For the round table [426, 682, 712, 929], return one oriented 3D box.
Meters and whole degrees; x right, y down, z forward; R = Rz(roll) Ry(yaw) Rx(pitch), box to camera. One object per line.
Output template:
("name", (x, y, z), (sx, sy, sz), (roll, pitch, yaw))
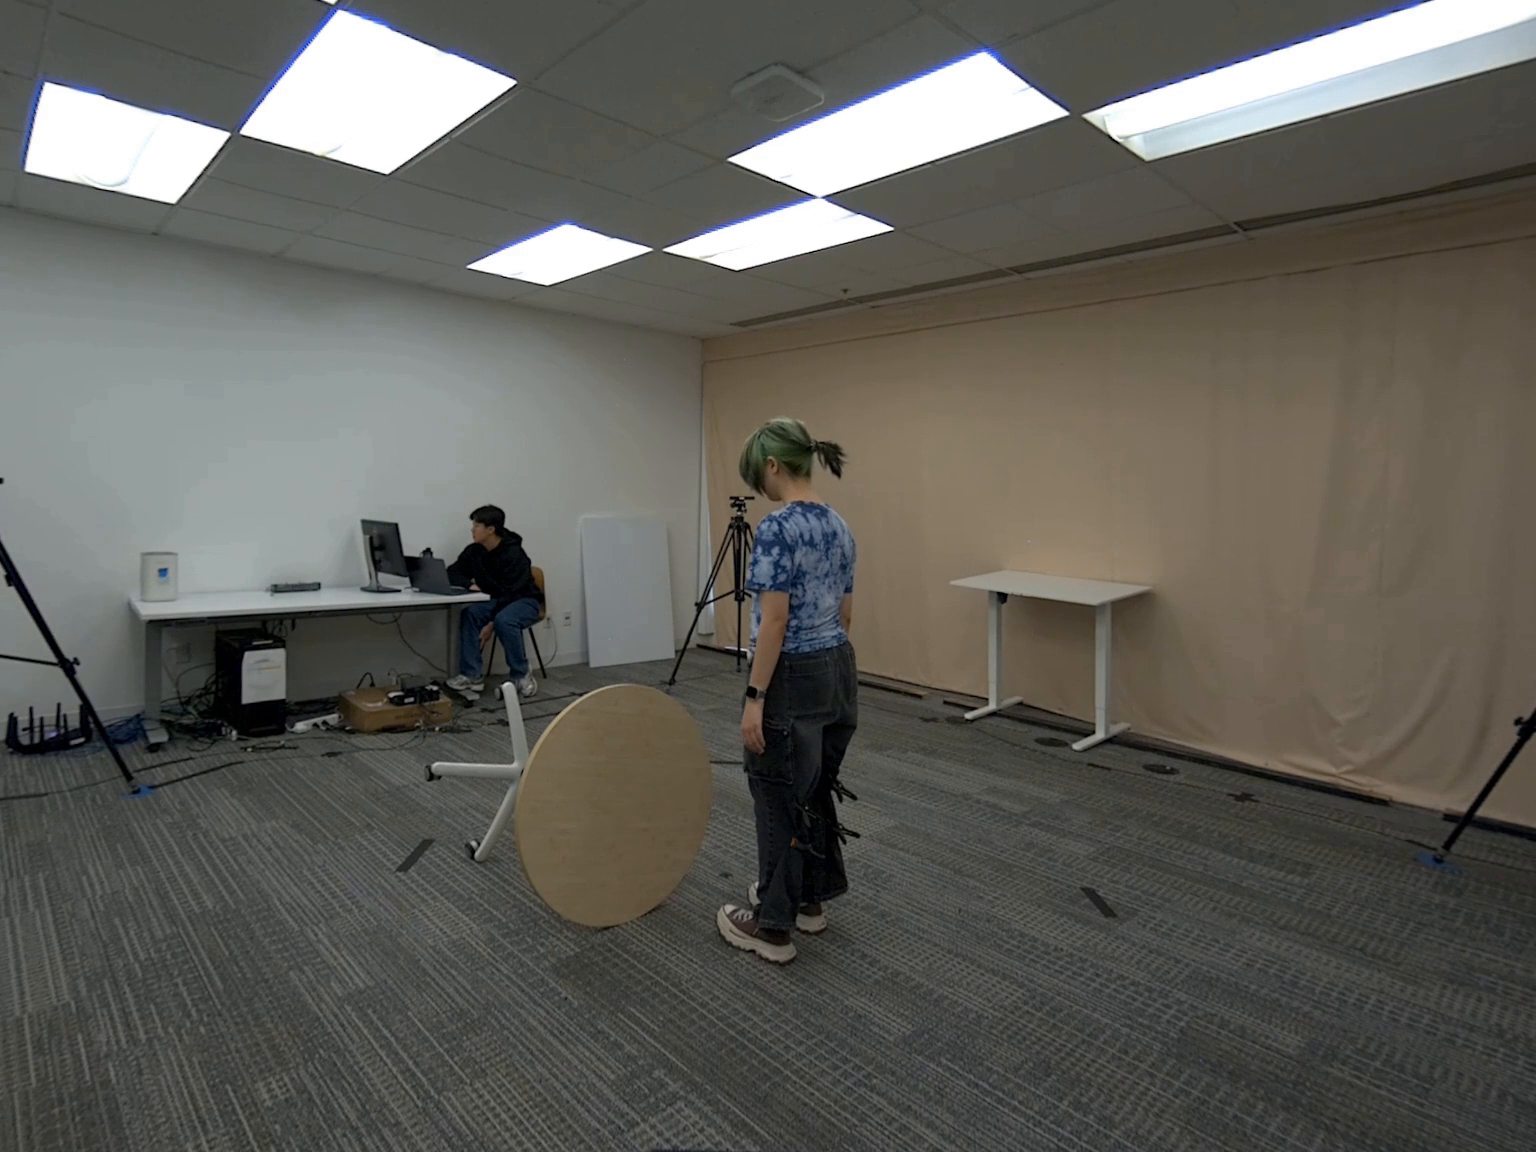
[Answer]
("round table", (-0.758, 0.761, 3.060), (0.746, 0.765, 0.811), (-3, -1, -44))
